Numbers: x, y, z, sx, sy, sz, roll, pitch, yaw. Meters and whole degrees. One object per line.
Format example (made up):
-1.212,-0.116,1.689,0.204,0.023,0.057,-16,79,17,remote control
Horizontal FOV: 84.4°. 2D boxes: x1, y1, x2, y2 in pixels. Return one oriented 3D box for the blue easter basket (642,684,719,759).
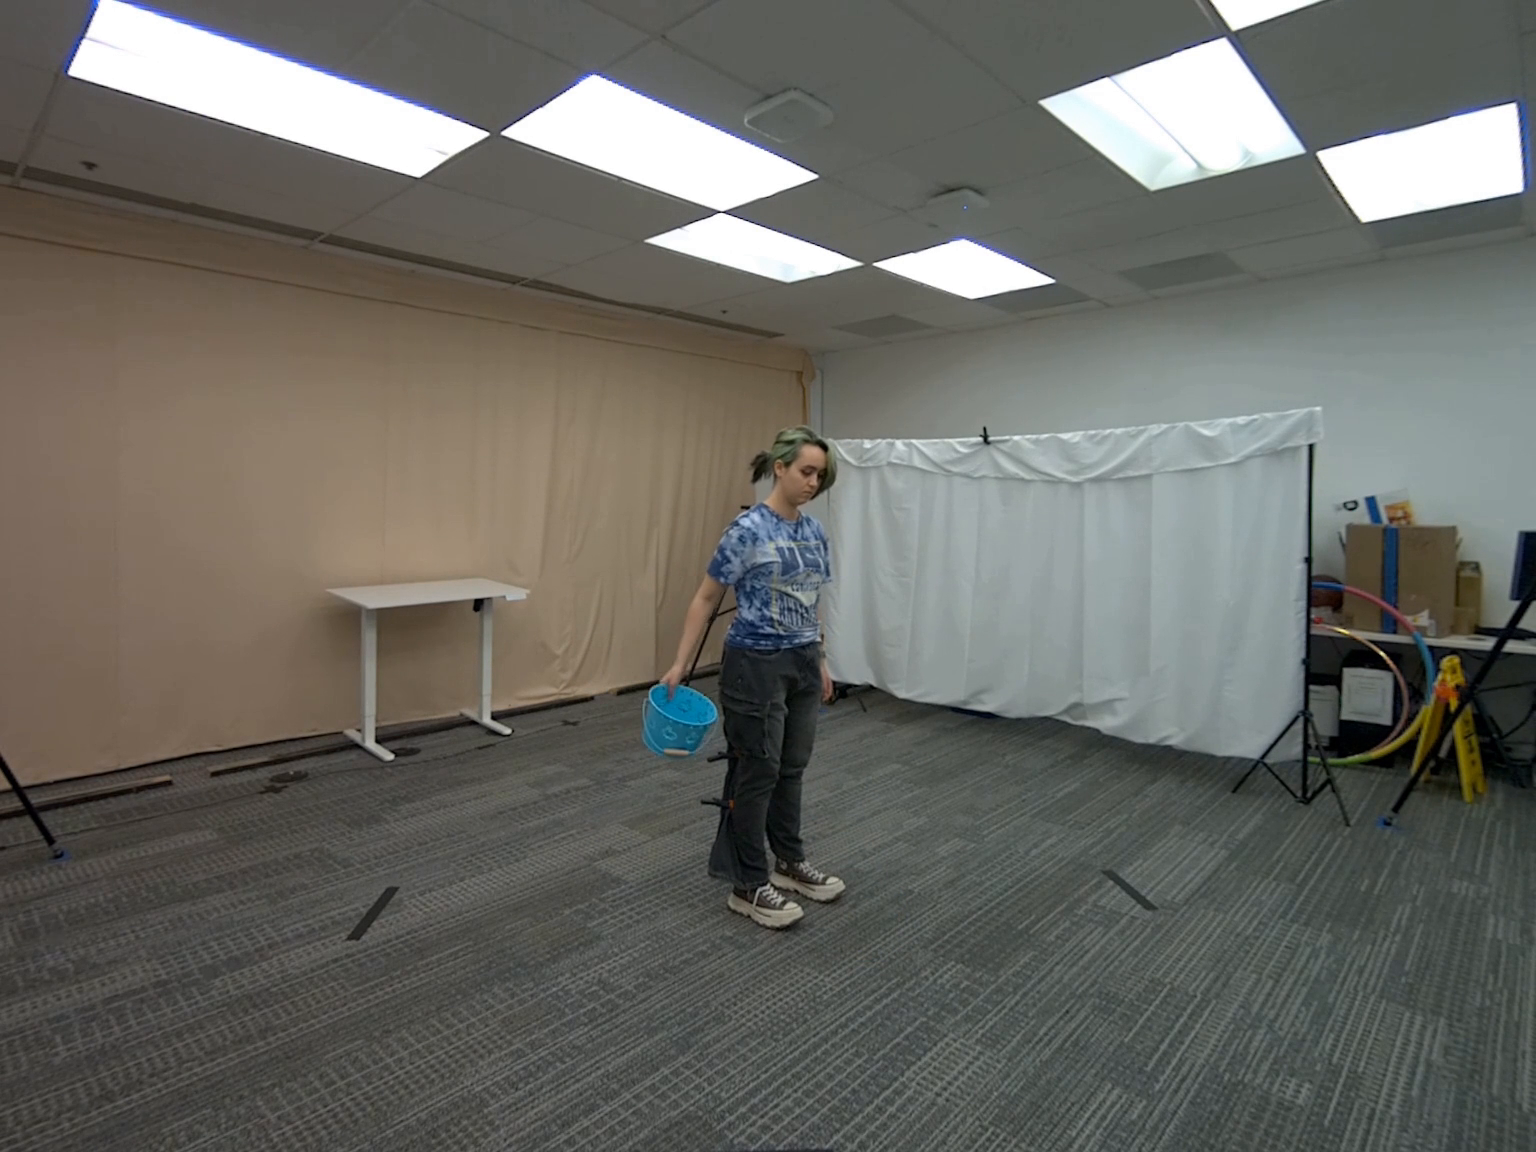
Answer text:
-0.290,0.462,2.702,0.242,0.155,0.246,15,15,-6,blue easter basket
